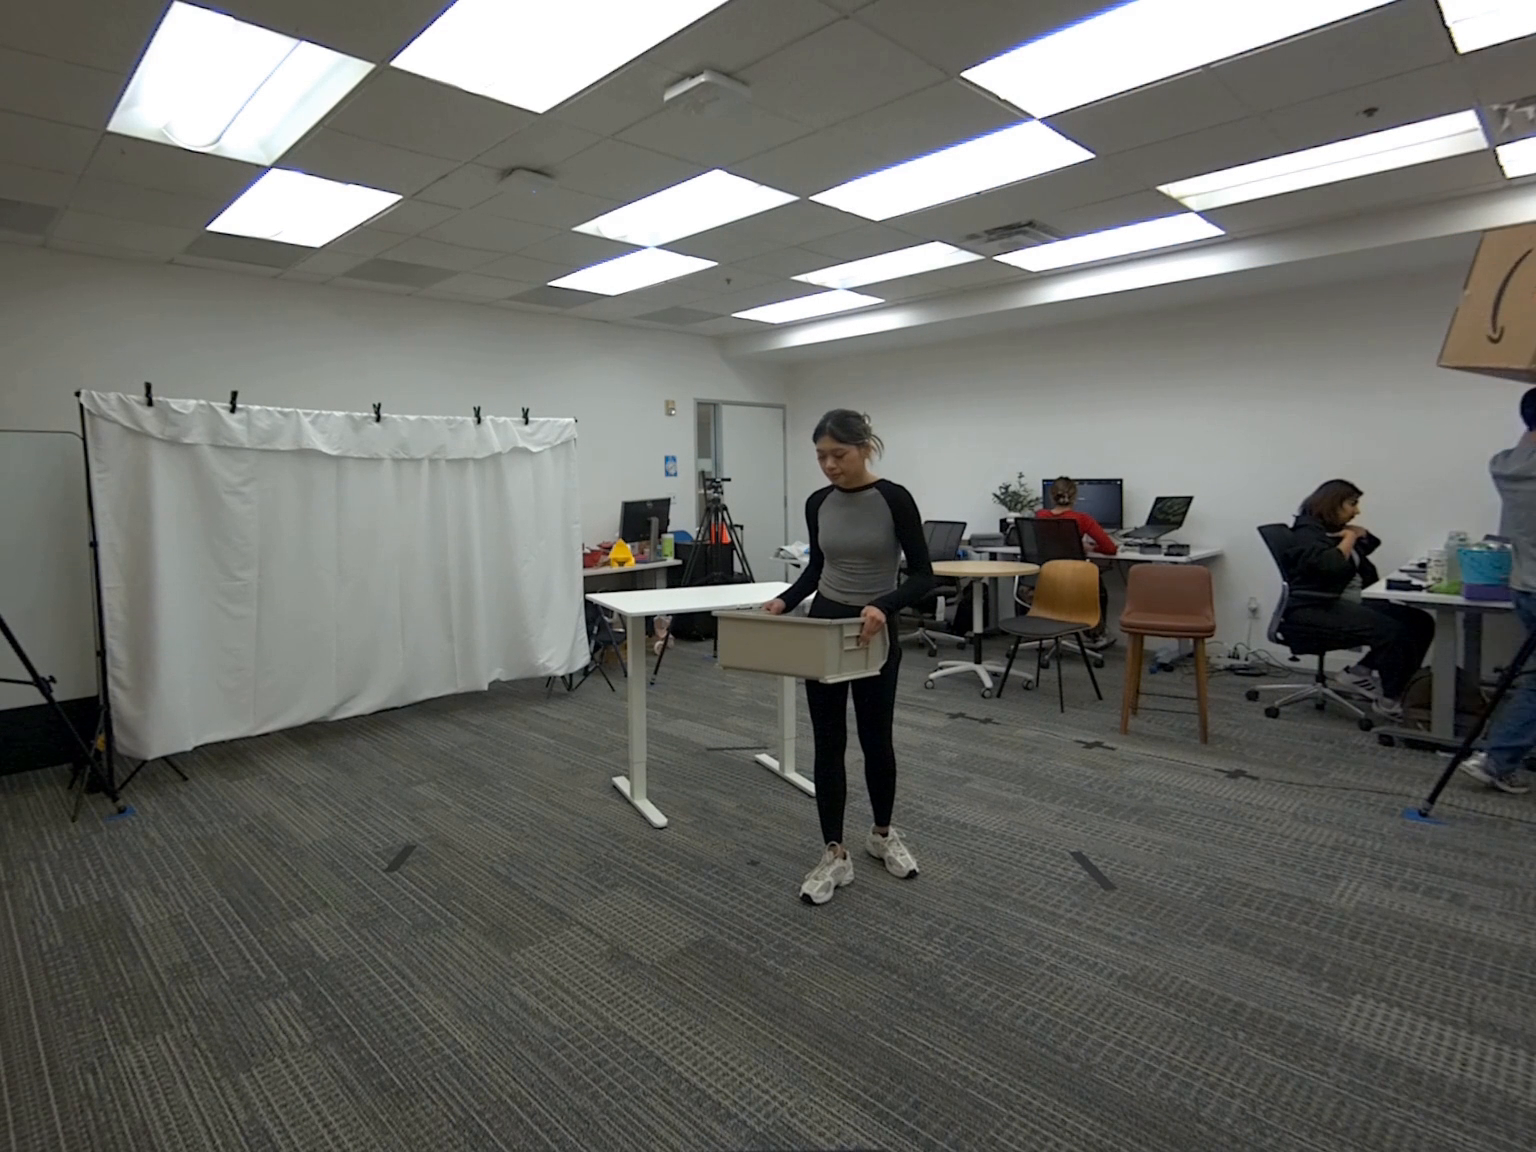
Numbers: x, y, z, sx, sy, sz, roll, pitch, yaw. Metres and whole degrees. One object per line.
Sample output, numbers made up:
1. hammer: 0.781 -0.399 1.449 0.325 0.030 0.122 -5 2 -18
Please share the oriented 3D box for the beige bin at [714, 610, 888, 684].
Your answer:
1. beige bin: 0.104 0.196 2.670 0.435 0.189 0.367 3 3 37
